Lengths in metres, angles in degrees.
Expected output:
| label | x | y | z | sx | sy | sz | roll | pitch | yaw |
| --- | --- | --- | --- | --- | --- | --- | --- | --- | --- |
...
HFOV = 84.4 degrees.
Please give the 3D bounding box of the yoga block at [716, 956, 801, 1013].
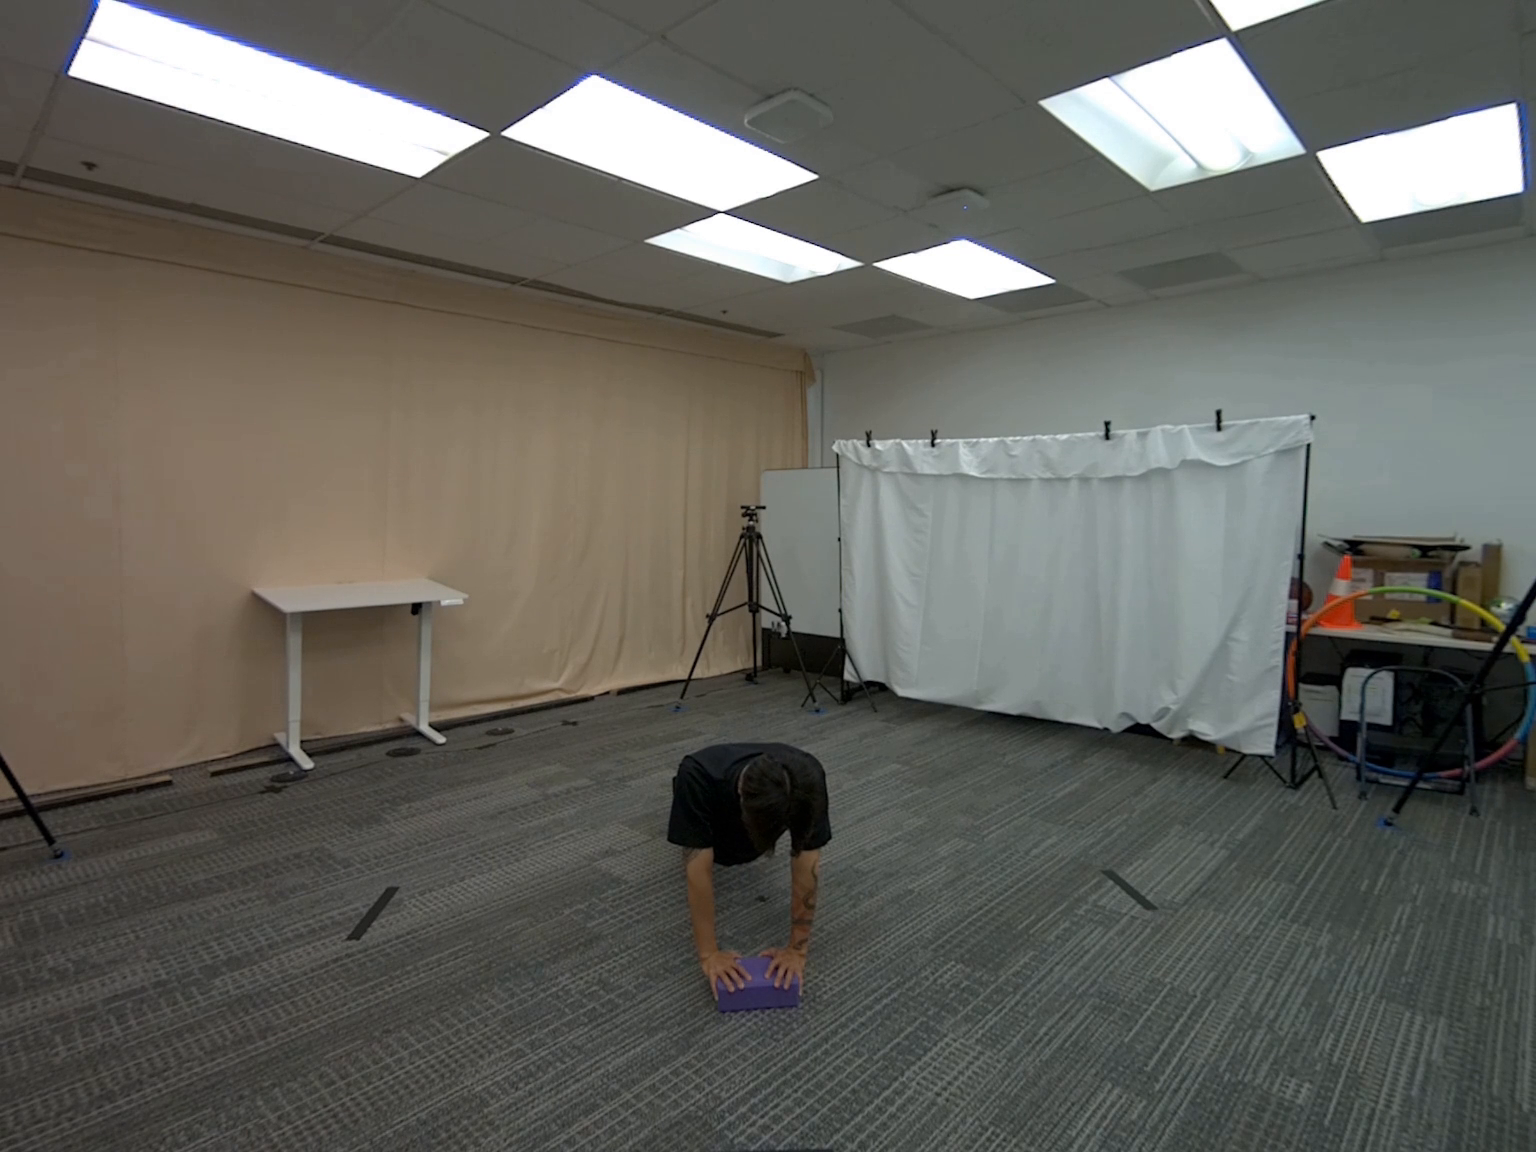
| label | x | y | z | sx | sy | sz | roll | pitch | yaw |
| --- | --- | --- | --- | --- | --- | --- | --- | --- | --- |
| yoga block | -0.036 | 1.151 | 2.395 | 0.227 | 0.076 | 0.150 | 0 | 4 | -8 |
